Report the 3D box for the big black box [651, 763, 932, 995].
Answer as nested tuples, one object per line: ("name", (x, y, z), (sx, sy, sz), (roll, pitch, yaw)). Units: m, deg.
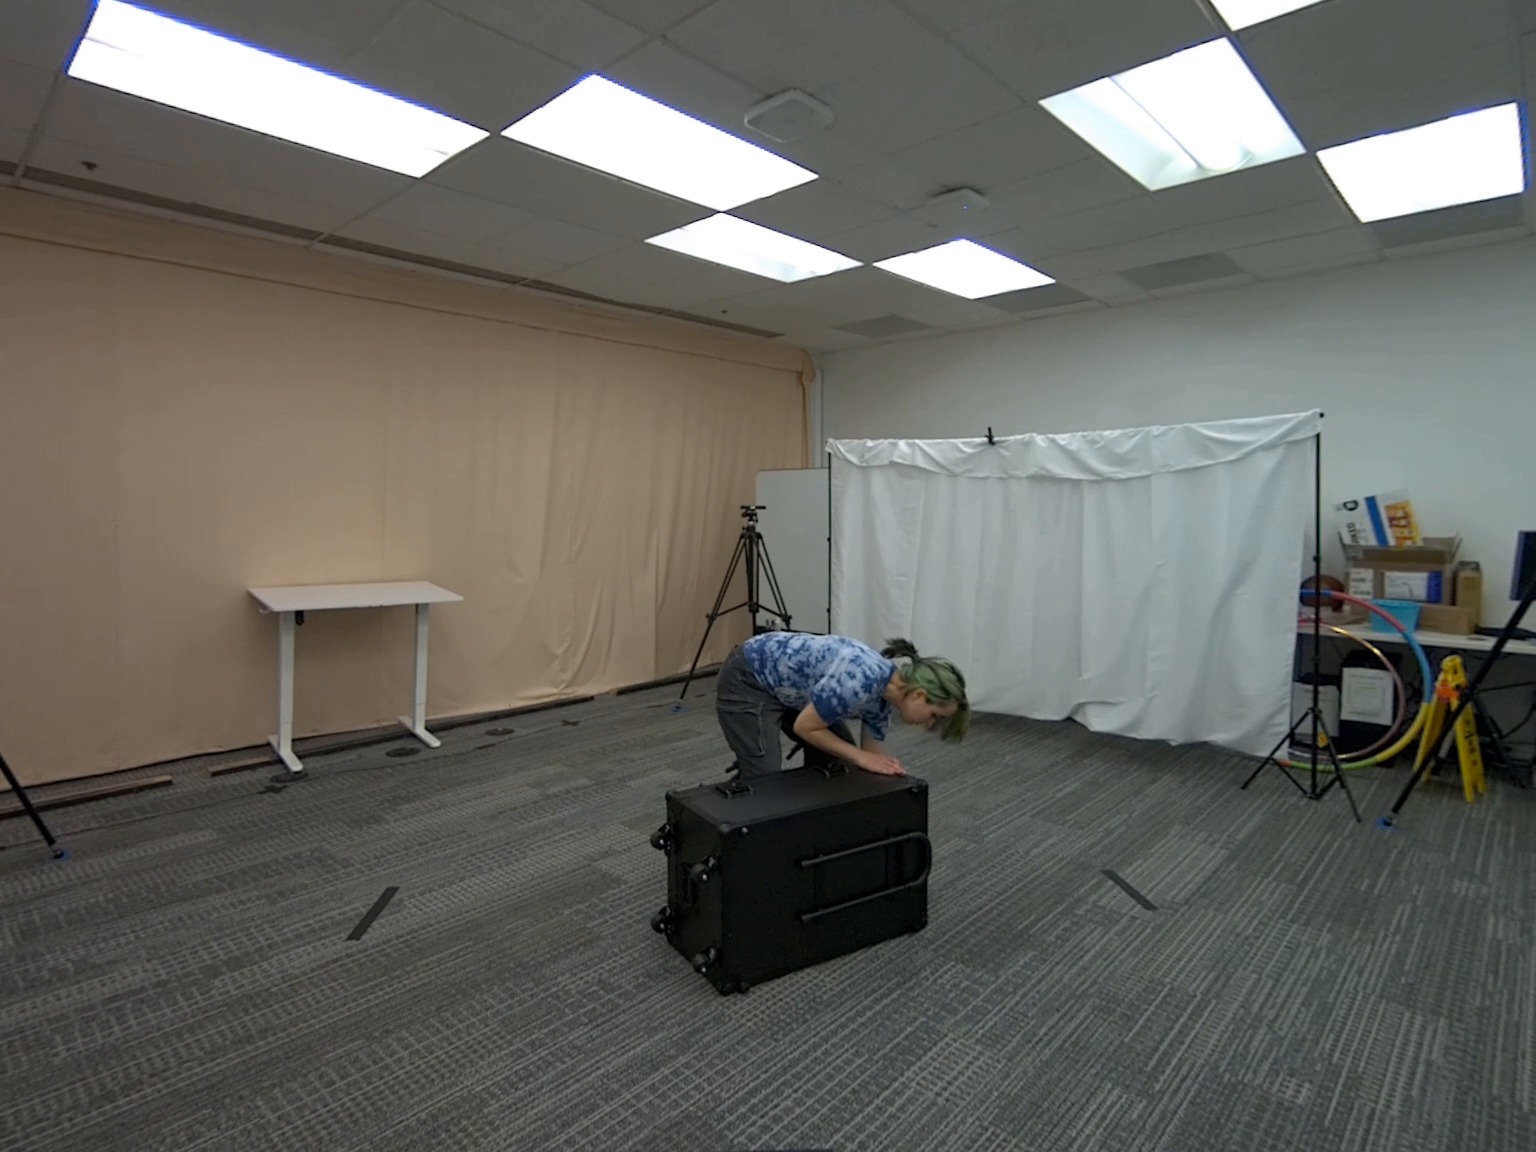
("big black box", (0.081, 0.918, 2.685), (0.839, 0.520, 0.408), (-3, 5, -30))
